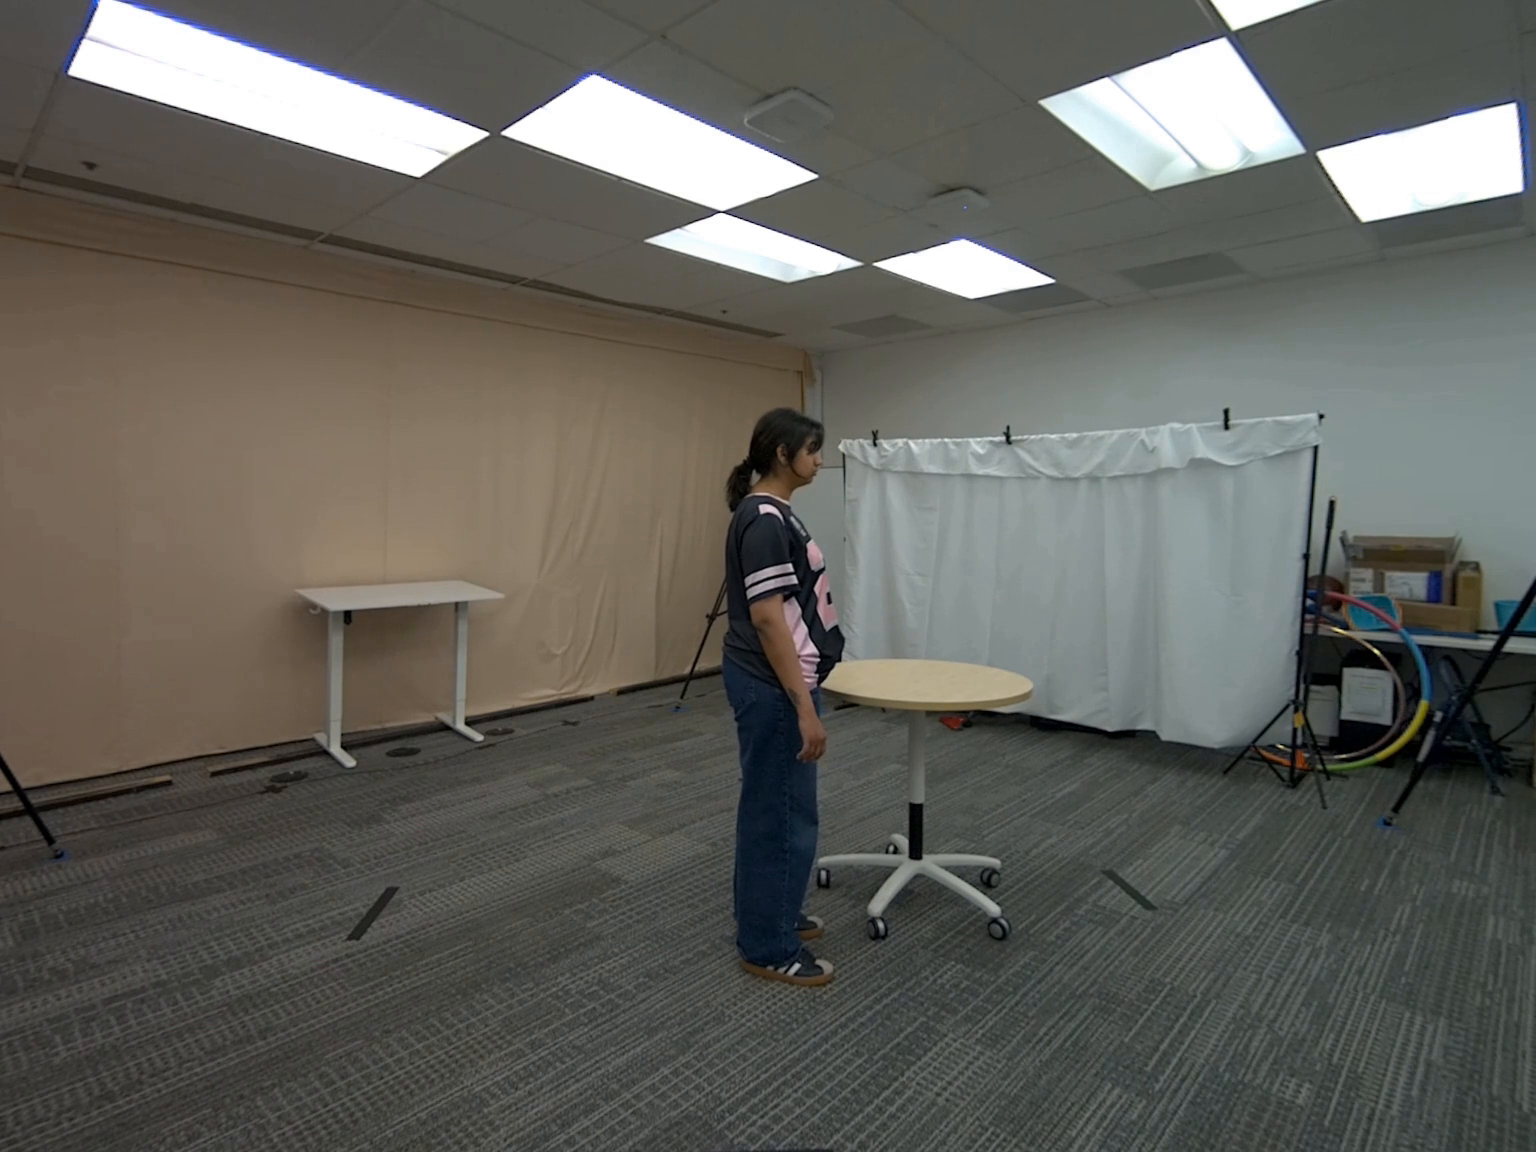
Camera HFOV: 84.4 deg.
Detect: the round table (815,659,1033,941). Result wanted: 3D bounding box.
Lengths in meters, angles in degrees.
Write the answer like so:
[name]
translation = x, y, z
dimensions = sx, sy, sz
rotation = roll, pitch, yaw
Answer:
[round table]
translation = 0.530, 0.755, 2.975
dimensions = 0.763, 0.792, 0.766
rotation = 0, 3, -2
